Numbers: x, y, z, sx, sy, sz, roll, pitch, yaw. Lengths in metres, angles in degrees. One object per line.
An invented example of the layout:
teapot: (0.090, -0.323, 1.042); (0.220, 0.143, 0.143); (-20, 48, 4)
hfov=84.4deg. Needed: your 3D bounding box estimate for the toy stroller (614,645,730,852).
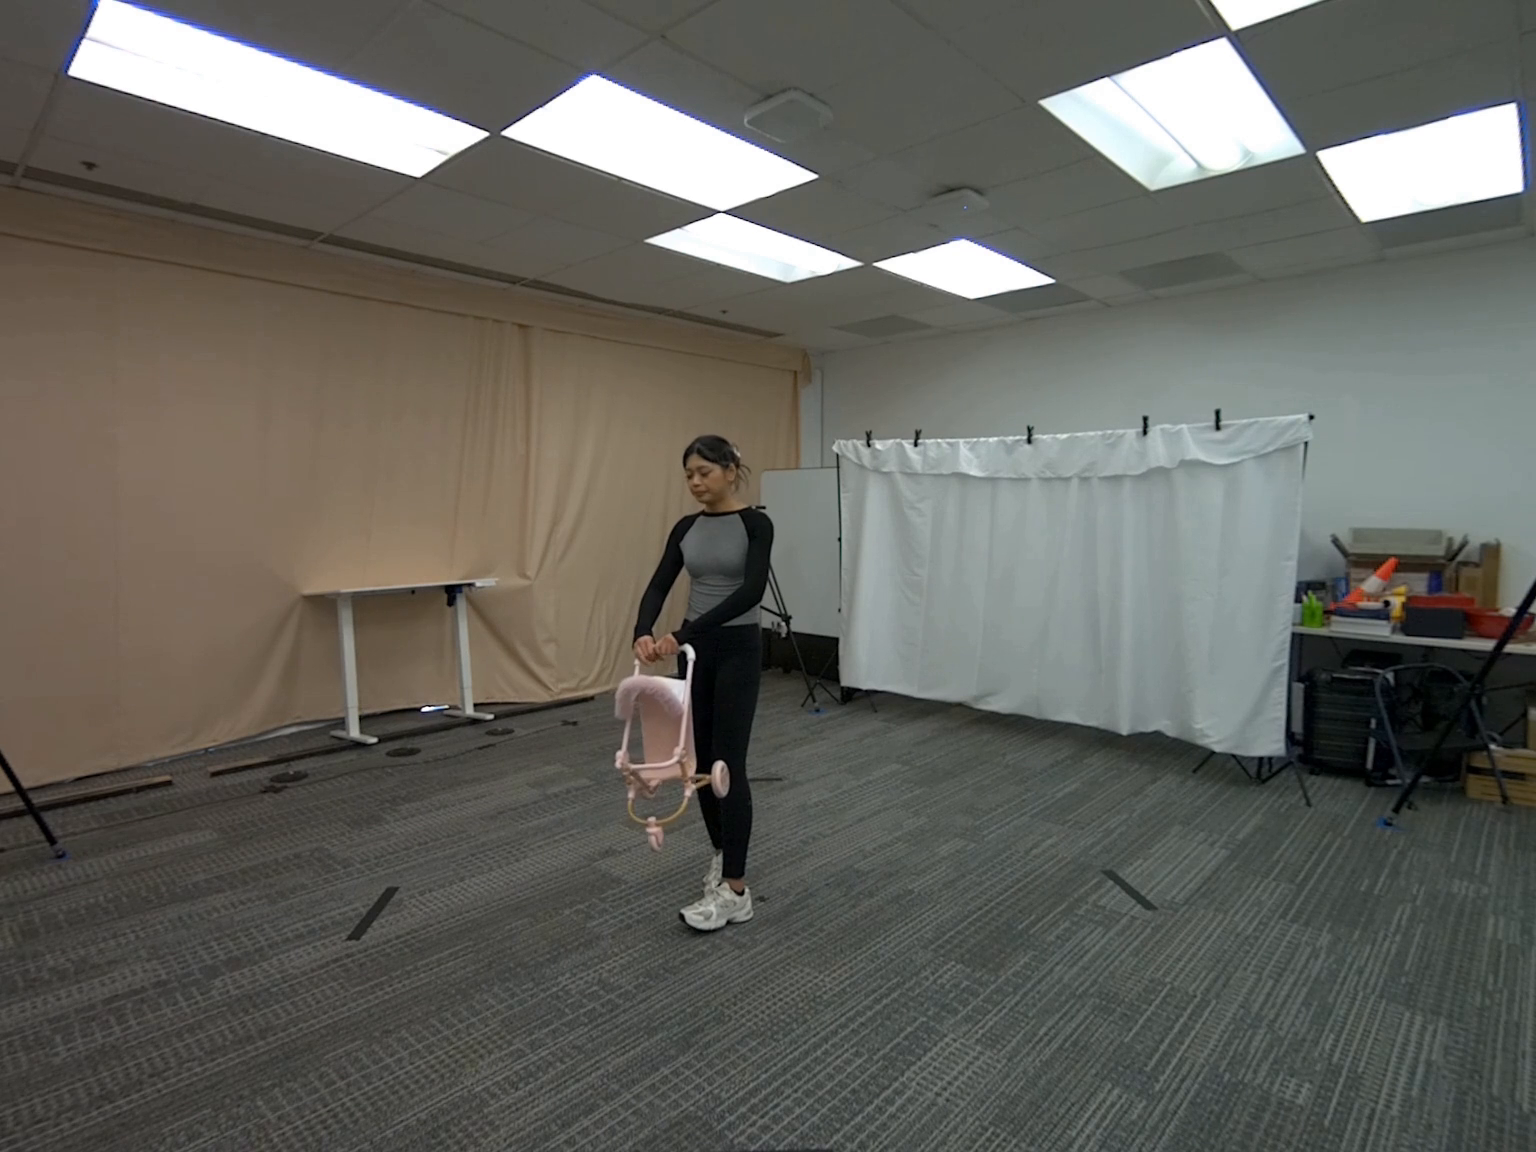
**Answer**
toy stroller: (-0.321, 0.511, 2.527); (0.288, 0.533, 0.335); (-7, 6, 24)
